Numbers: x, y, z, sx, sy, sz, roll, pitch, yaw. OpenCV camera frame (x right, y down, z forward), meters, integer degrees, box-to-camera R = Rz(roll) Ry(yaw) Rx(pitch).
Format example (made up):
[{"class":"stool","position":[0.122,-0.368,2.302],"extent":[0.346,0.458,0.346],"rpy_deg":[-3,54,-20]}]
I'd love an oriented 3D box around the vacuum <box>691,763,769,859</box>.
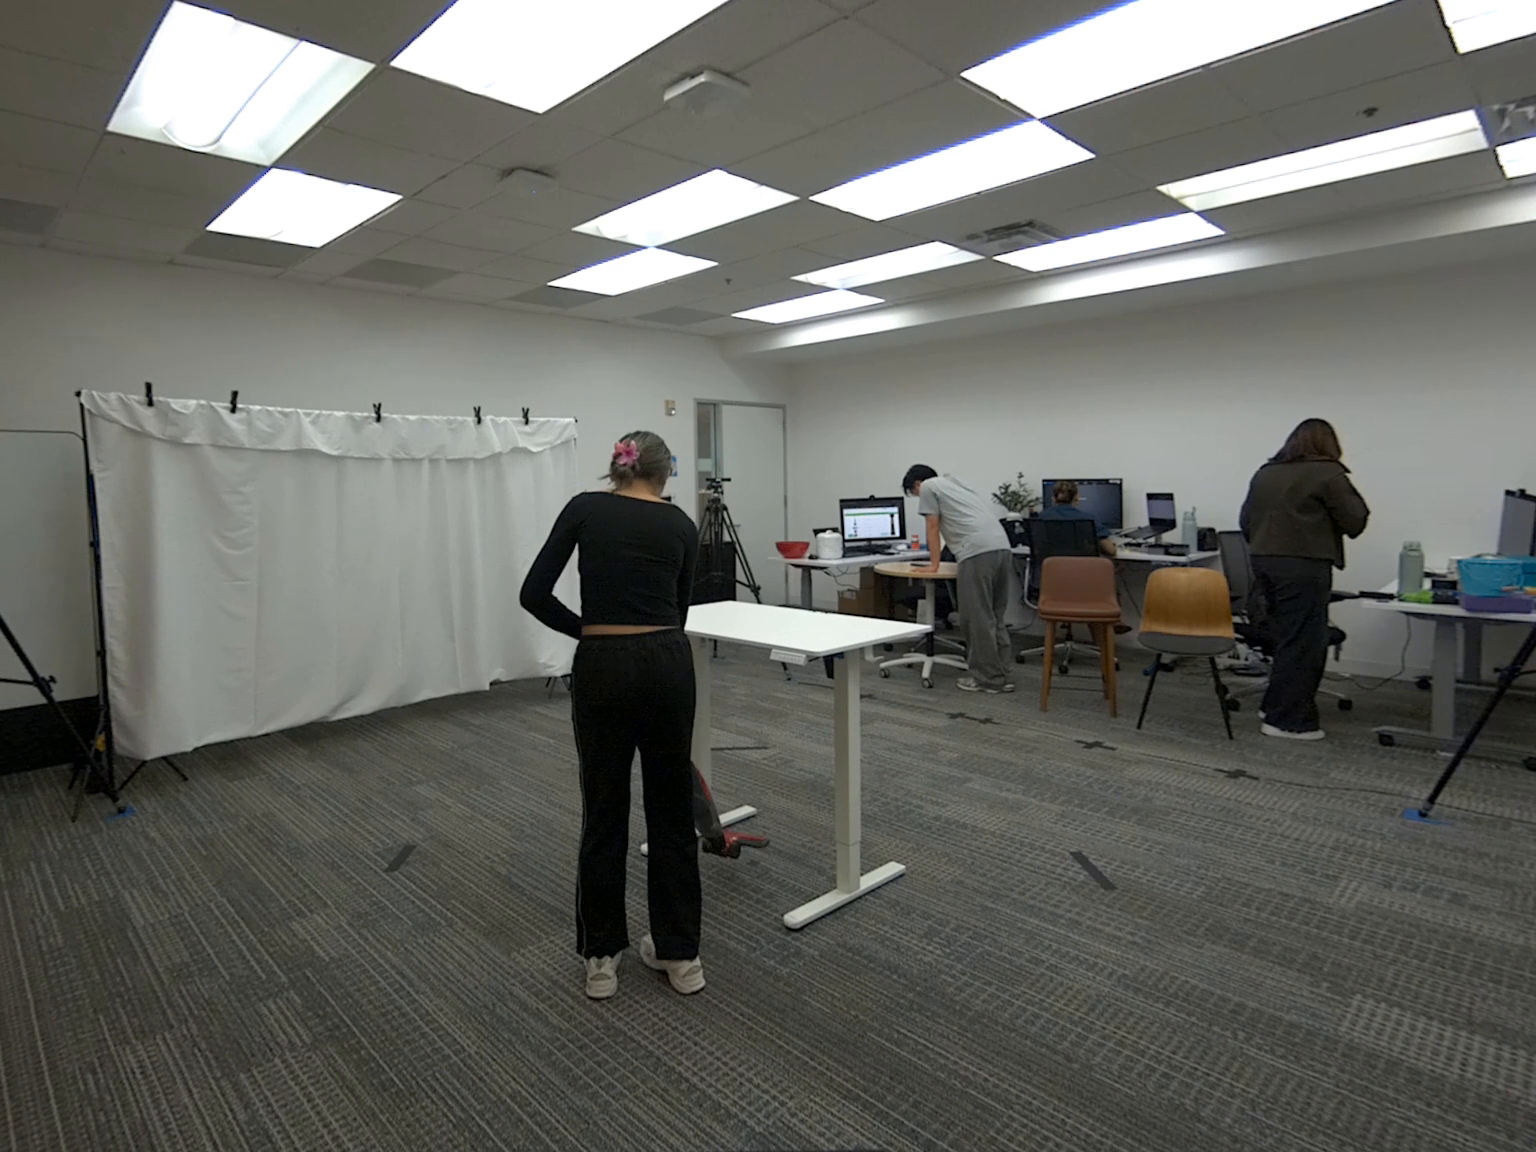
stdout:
[{"class":"vacuum","position":[-0.311,0.578,2.733],"extent":[0.259,1.015,0.145],"rpy_deg":[-1,40,34]}]
